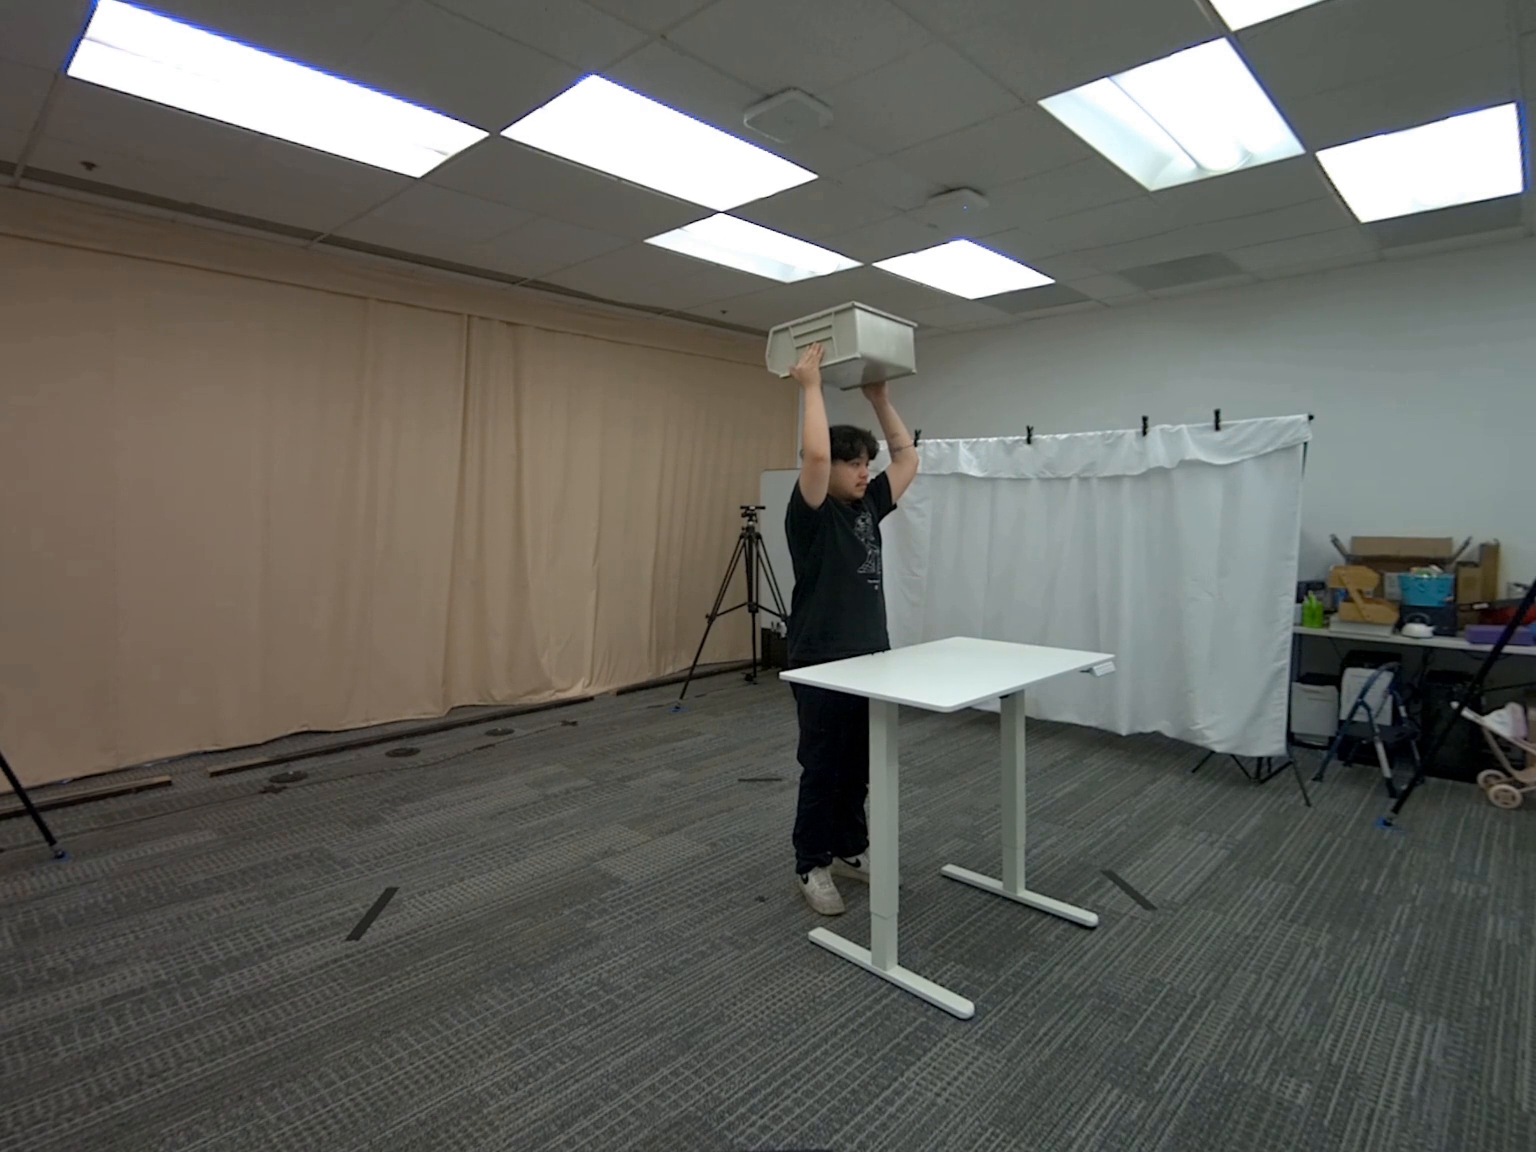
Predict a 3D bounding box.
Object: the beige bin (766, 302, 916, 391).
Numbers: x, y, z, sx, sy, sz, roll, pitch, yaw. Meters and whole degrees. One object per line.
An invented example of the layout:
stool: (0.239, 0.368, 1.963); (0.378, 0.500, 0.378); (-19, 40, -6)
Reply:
beige bin: (0.269, -0.794, 2.989); (0.389, 0.189, 0.409); (-5, -1, 40)
